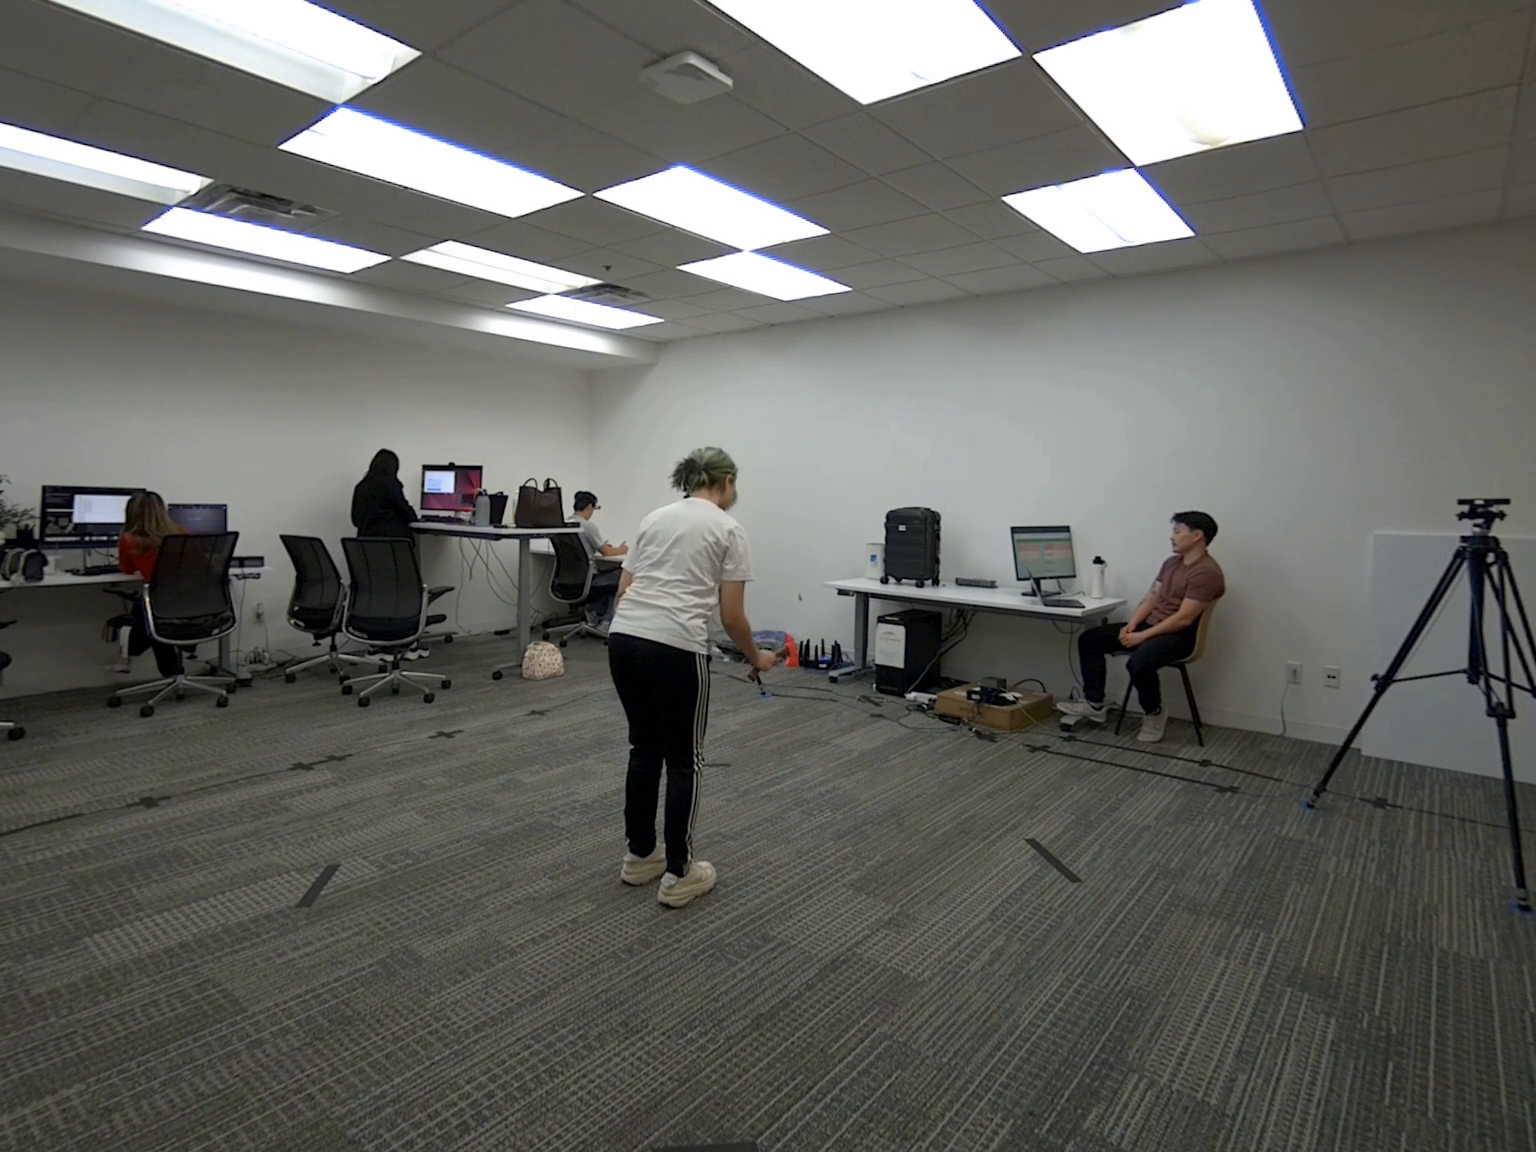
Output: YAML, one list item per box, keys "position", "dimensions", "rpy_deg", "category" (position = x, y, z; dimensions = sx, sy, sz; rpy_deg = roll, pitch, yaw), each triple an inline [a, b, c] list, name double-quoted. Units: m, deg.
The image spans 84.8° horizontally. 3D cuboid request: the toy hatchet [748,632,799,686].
- position: [0.017, 0.338, 3.173]
  dimensions: [0.269, 0.129, 0.030]
  rpy_deg: [-43, 14, -36]
  category: "toy hatchet"
